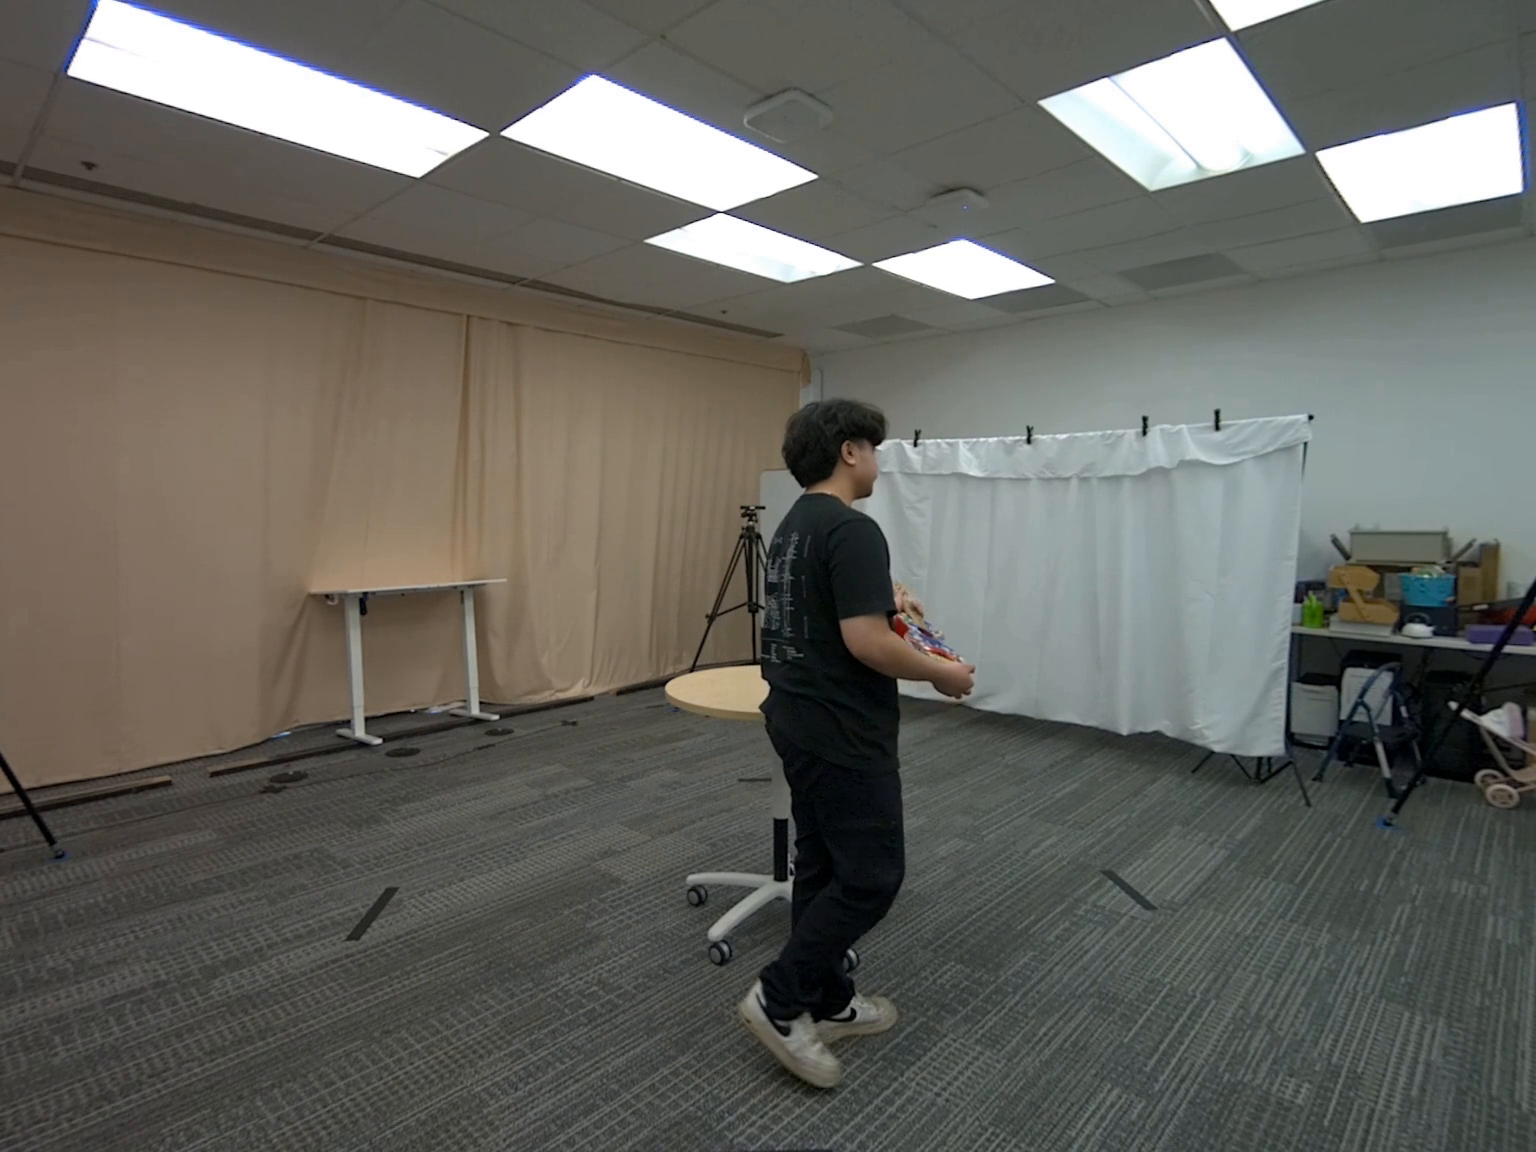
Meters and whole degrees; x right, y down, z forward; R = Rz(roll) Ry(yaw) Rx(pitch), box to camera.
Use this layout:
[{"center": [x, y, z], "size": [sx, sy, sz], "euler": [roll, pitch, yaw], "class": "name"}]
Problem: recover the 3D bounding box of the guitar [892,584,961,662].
[{"center": [0.436, 0.154, 2.307], "size": [0.192, 0.070, 0.502], "euler": [22, 21, -7], "class": "guitar"}]
